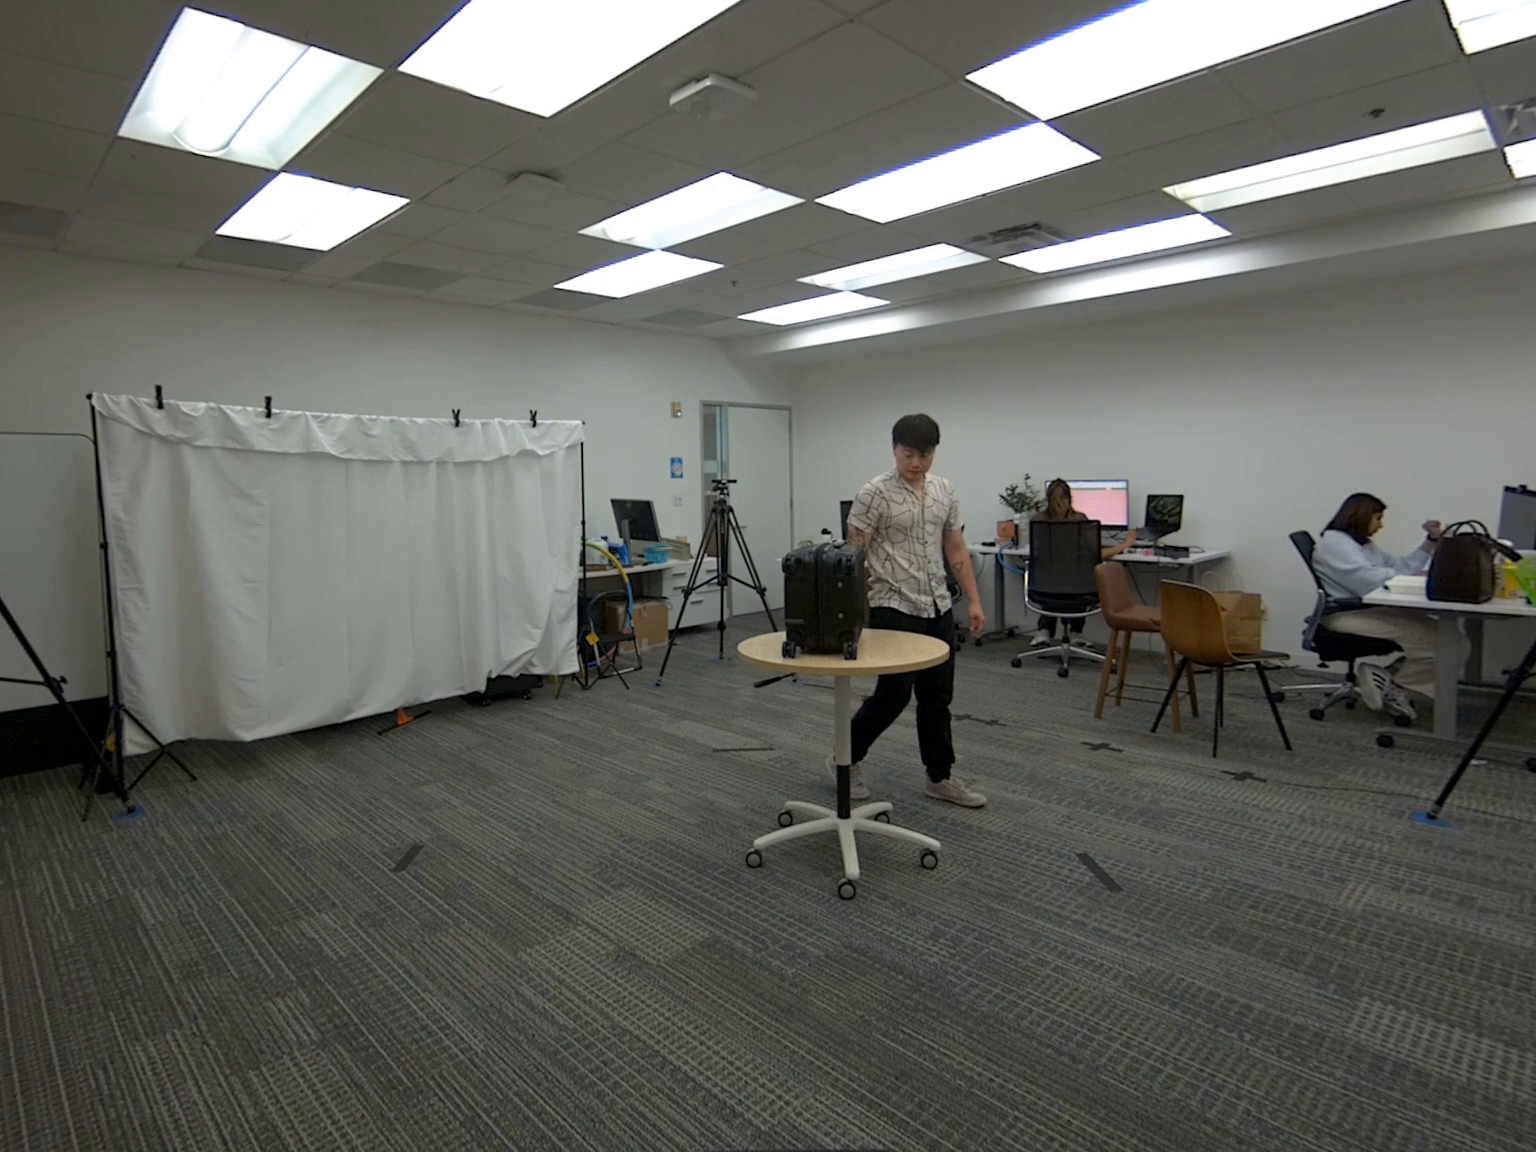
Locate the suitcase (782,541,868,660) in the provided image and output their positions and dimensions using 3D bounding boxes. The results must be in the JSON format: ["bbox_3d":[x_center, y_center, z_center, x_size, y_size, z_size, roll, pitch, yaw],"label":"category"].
[{"bbox_3d":[0.219,0.064,3.148,0.251,0.374,0.545,-1,6,11],"label":"suitcase"}]
